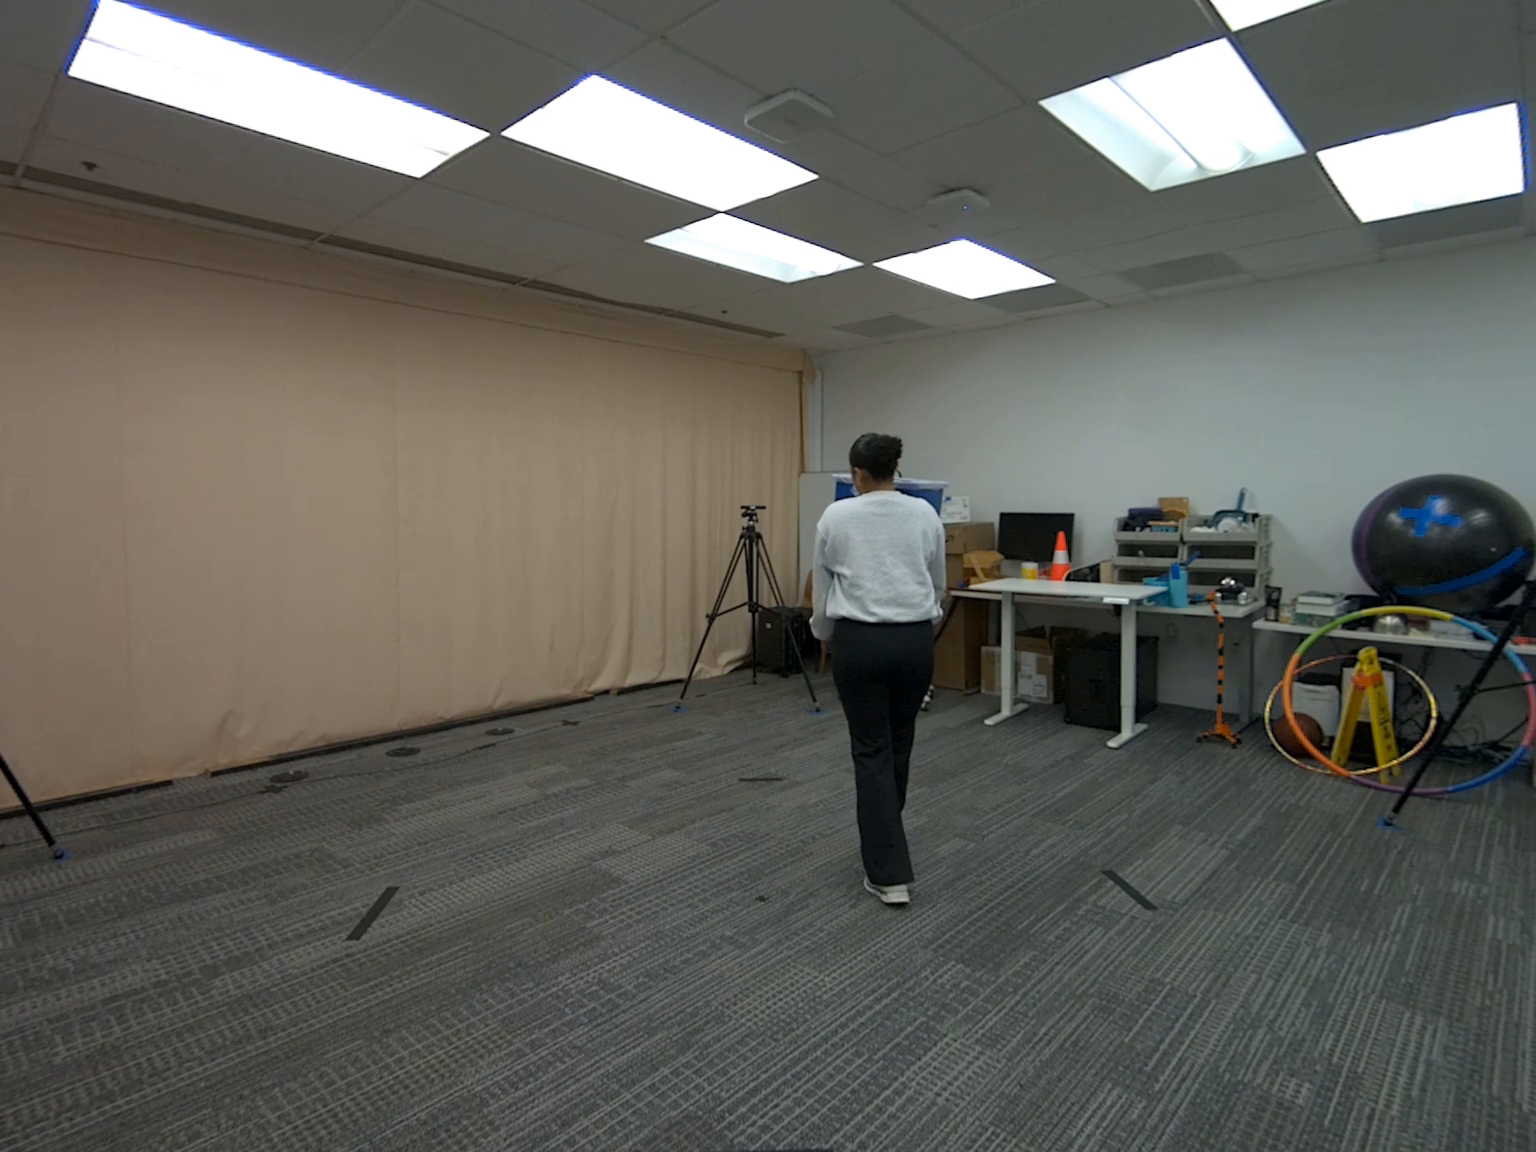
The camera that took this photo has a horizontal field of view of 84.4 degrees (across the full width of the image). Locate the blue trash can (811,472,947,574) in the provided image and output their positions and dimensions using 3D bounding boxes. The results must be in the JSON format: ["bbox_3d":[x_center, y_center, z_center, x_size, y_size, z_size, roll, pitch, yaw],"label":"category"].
[{"bbox_3d":[0.487,-0.052,3.440,0.386,0.710,0.368,8,9,31],"label":"blue trash can"}]
